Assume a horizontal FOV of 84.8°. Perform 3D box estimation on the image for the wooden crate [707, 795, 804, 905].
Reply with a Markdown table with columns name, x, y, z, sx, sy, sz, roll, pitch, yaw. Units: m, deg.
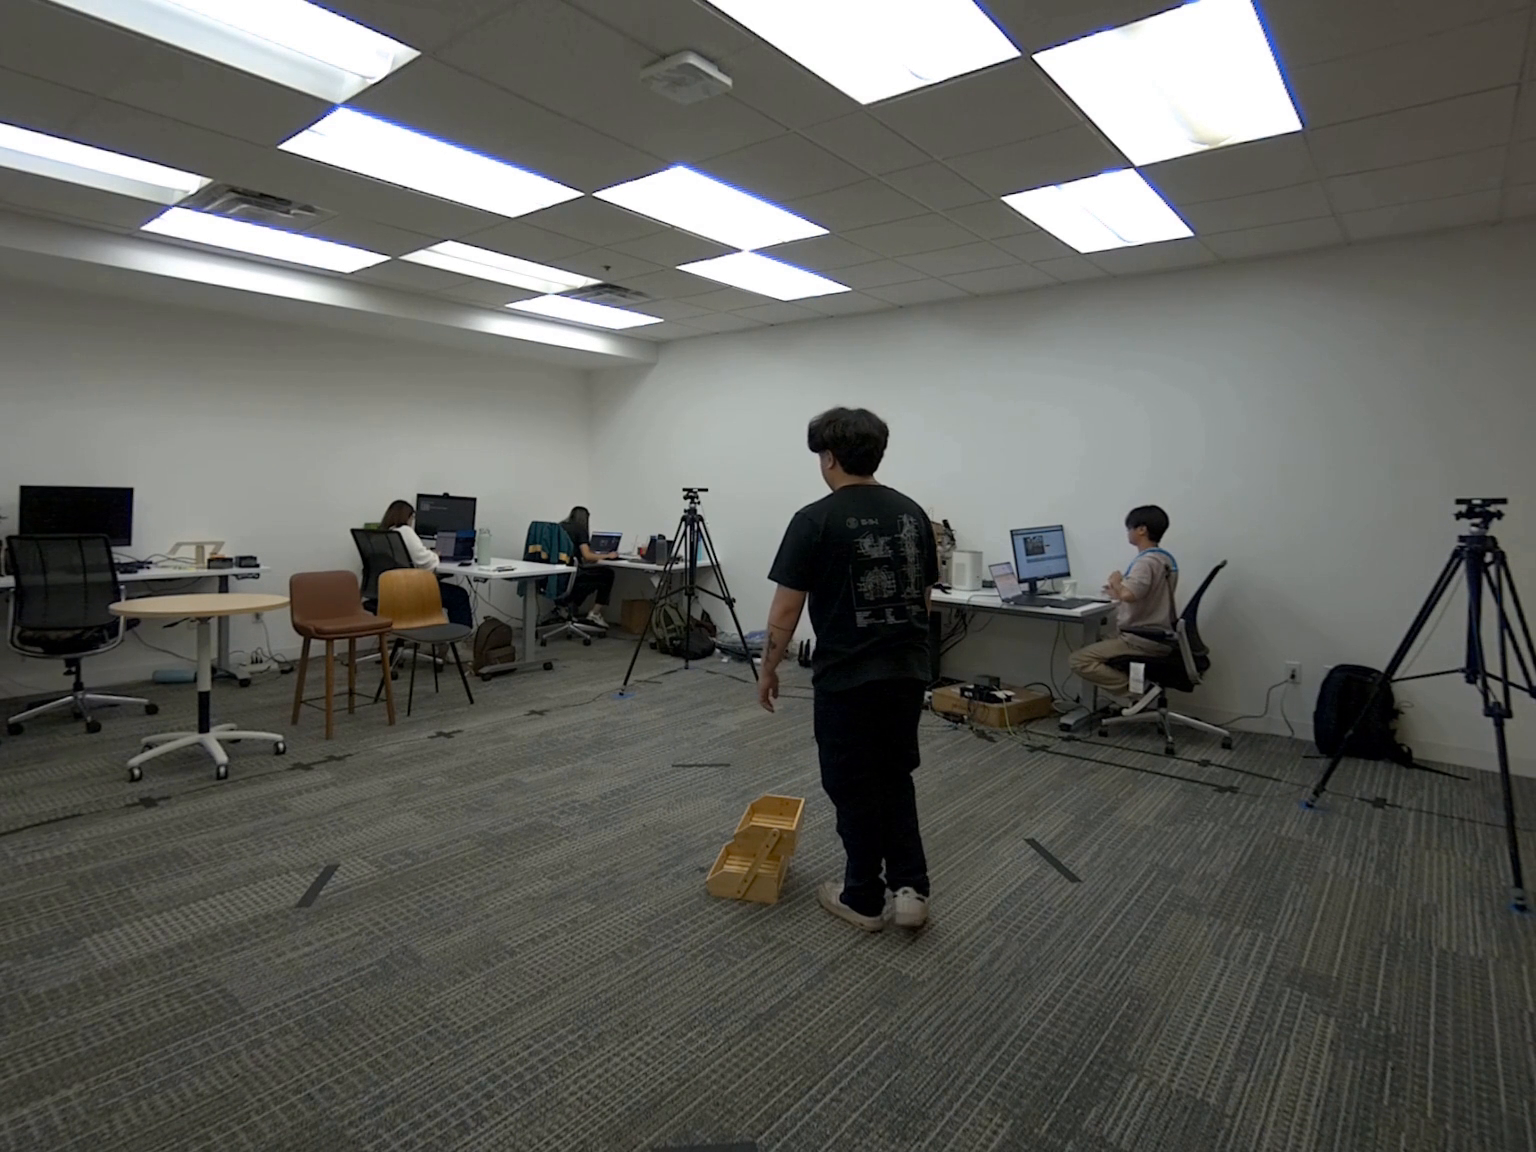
| name | x | y | z | sx | sy | sz | roll | pitch | yaw |
| --- | --- | --- | --- | --- | --- | --- | --- | --- | --- |
| wooden crate | -0.052 | 0.946 | 3.019 | 0.306 | 0.272 | 0.322 | 3 | 5 | 10 |
